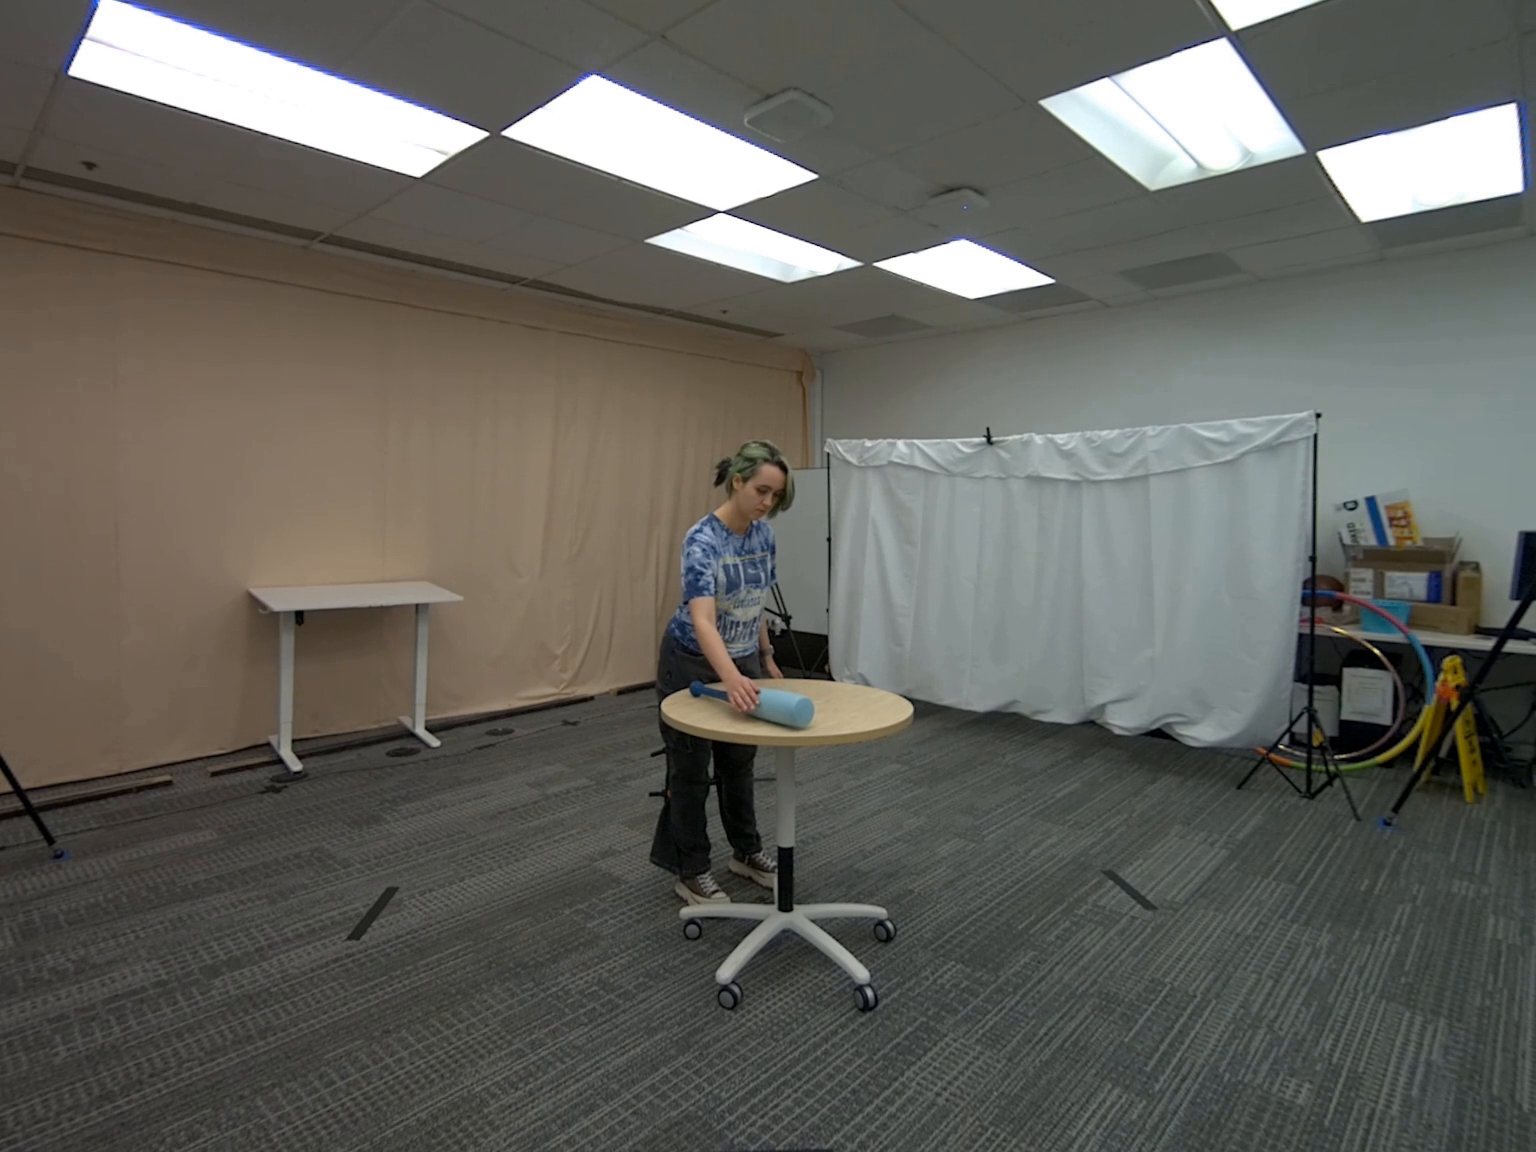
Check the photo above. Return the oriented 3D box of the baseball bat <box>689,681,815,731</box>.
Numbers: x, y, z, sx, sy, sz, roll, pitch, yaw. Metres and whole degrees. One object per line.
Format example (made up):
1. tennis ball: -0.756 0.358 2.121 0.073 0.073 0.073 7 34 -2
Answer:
1. baseball bat: -0.062 0.370 2.472 0.086 0.089 0.559 -3 1 -37
